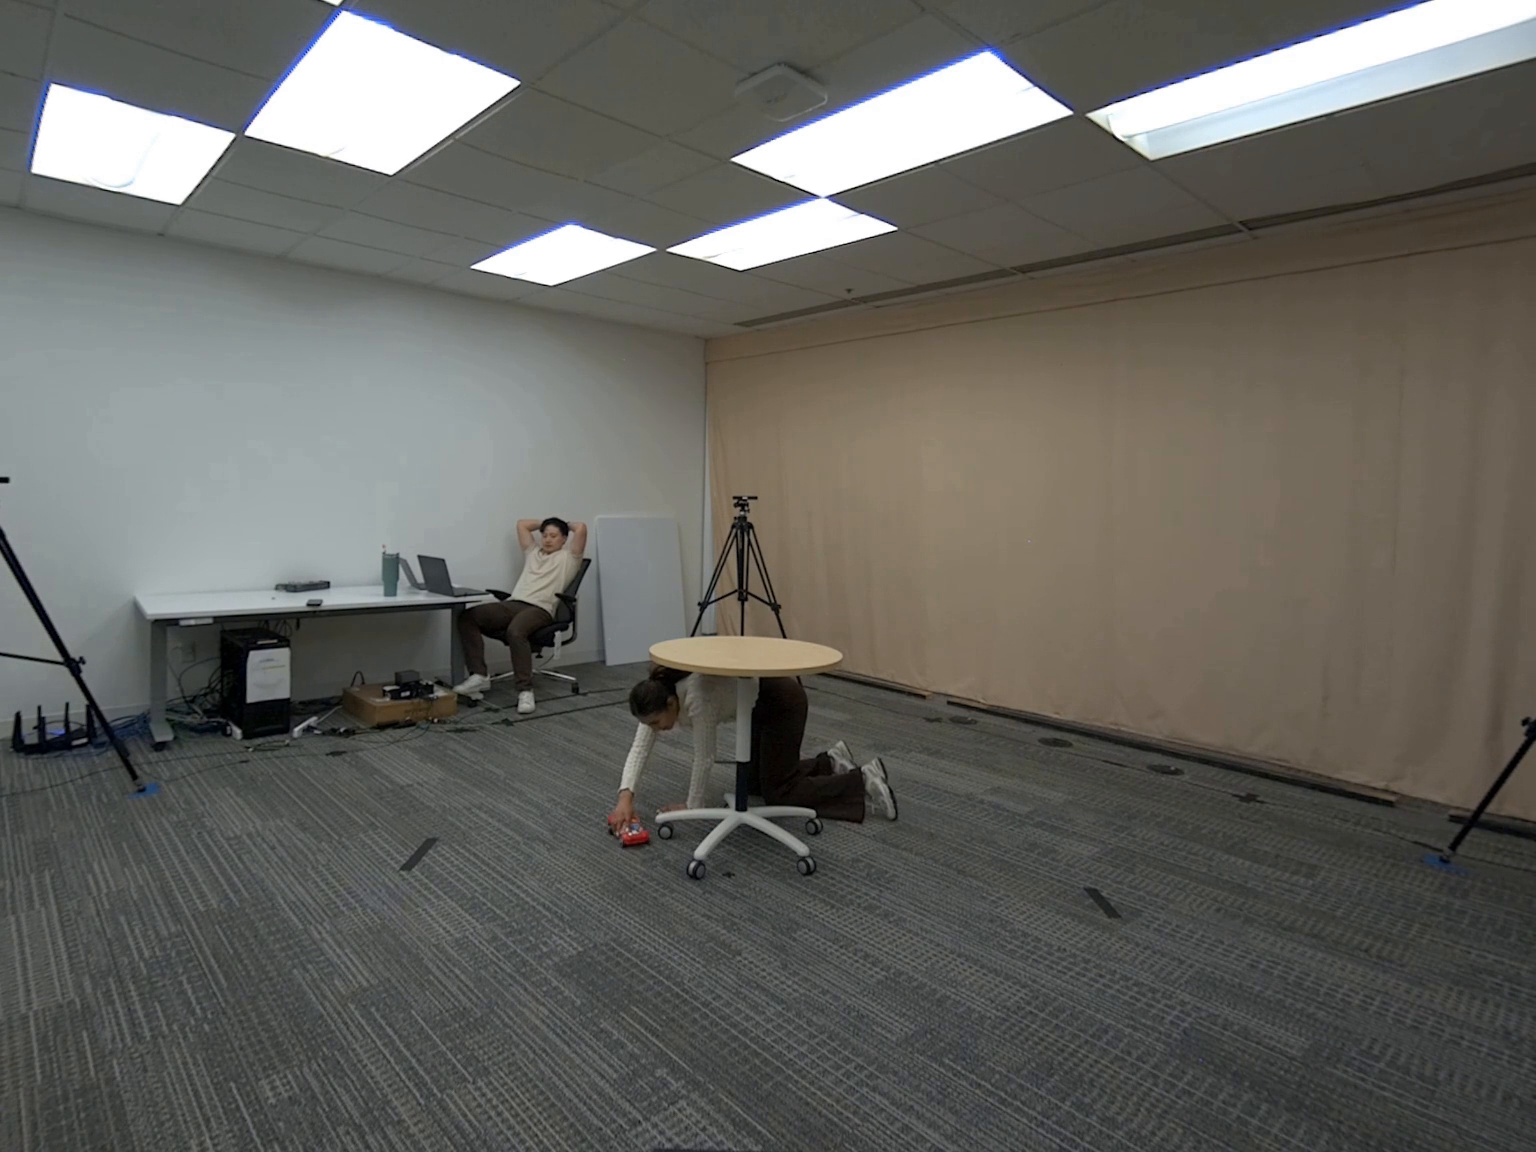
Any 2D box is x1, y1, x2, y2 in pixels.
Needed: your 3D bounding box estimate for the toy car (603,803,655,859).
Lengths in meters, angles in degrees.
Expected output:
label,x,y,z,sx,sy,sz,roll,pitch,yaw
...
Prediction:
label,x,y,z,sx,sy,sz,roll,pitch,yaw
toy car,-0.570,1.027,3.441,0.128,0.082,0.261,1,15,-27
